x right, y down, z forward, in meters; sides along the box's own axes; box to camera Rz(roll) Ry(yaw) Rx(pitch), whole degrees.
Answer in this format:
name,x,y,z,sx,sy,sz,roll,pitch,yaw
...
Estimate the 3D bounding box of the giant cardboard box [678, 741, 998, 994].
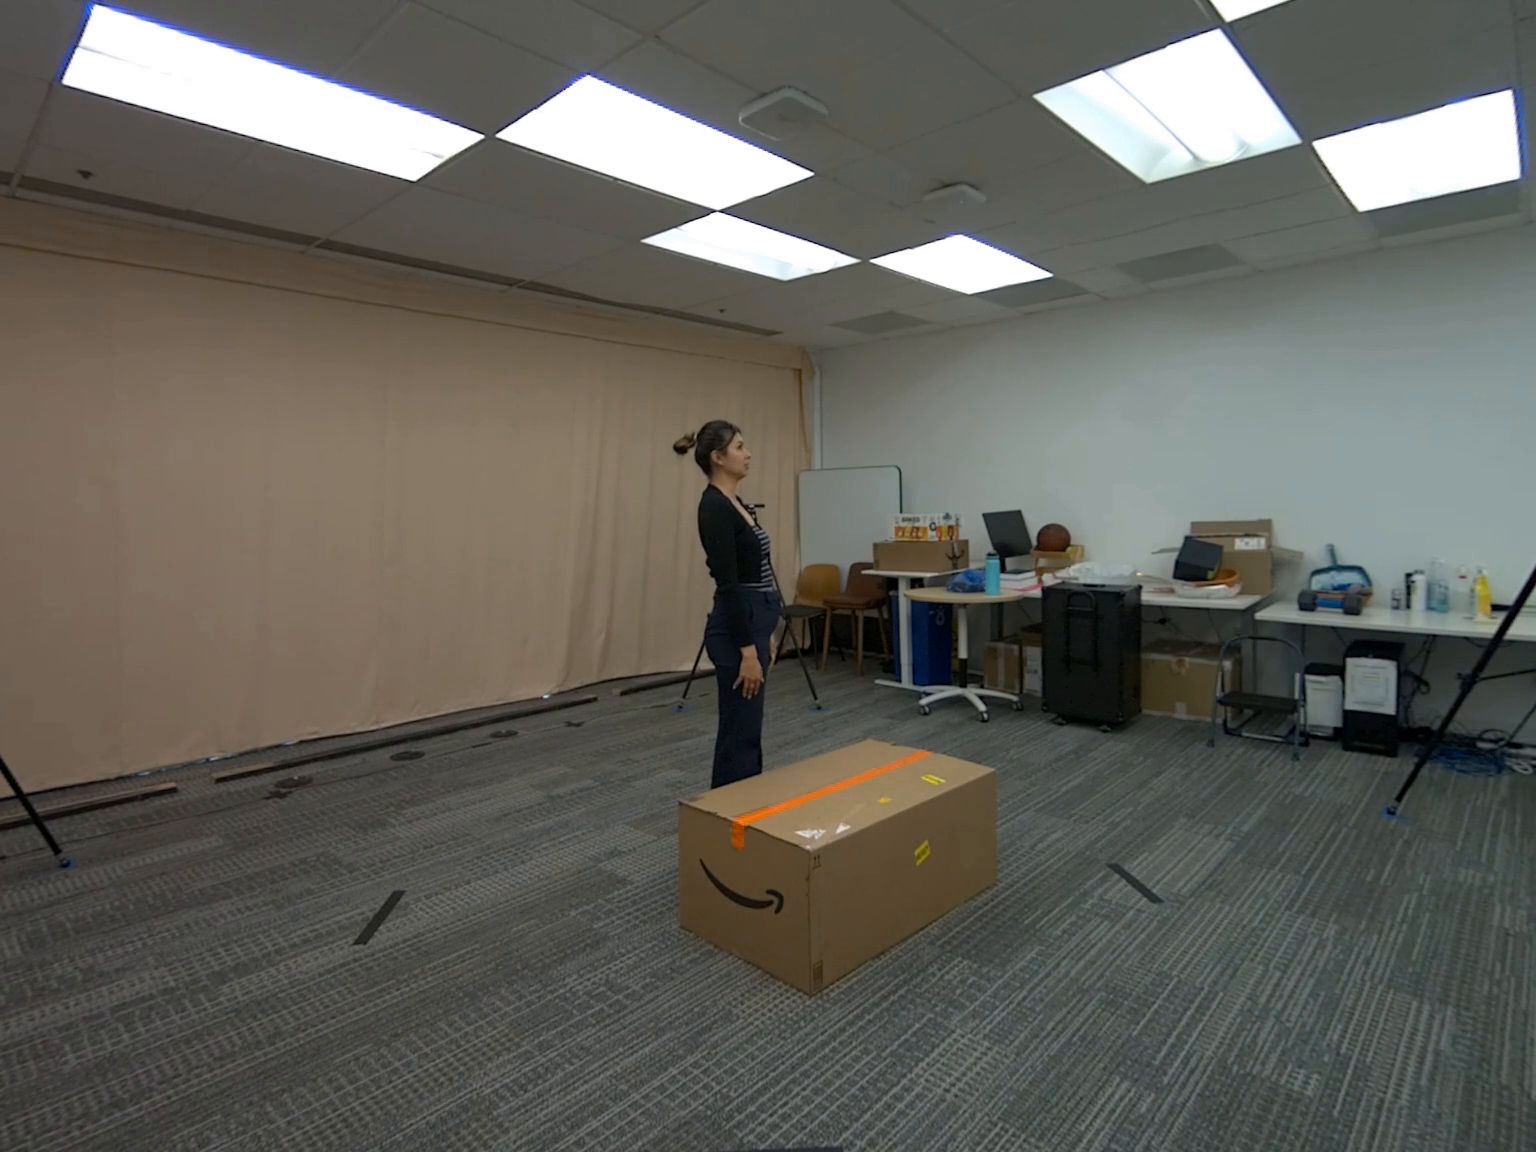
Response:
name,x,y,z,sx,sy,sz,roll,pitch,yaw
giant cardboard box,0.274,0.928,2.907,0.995,0.425,0.596,-6,6,-44
